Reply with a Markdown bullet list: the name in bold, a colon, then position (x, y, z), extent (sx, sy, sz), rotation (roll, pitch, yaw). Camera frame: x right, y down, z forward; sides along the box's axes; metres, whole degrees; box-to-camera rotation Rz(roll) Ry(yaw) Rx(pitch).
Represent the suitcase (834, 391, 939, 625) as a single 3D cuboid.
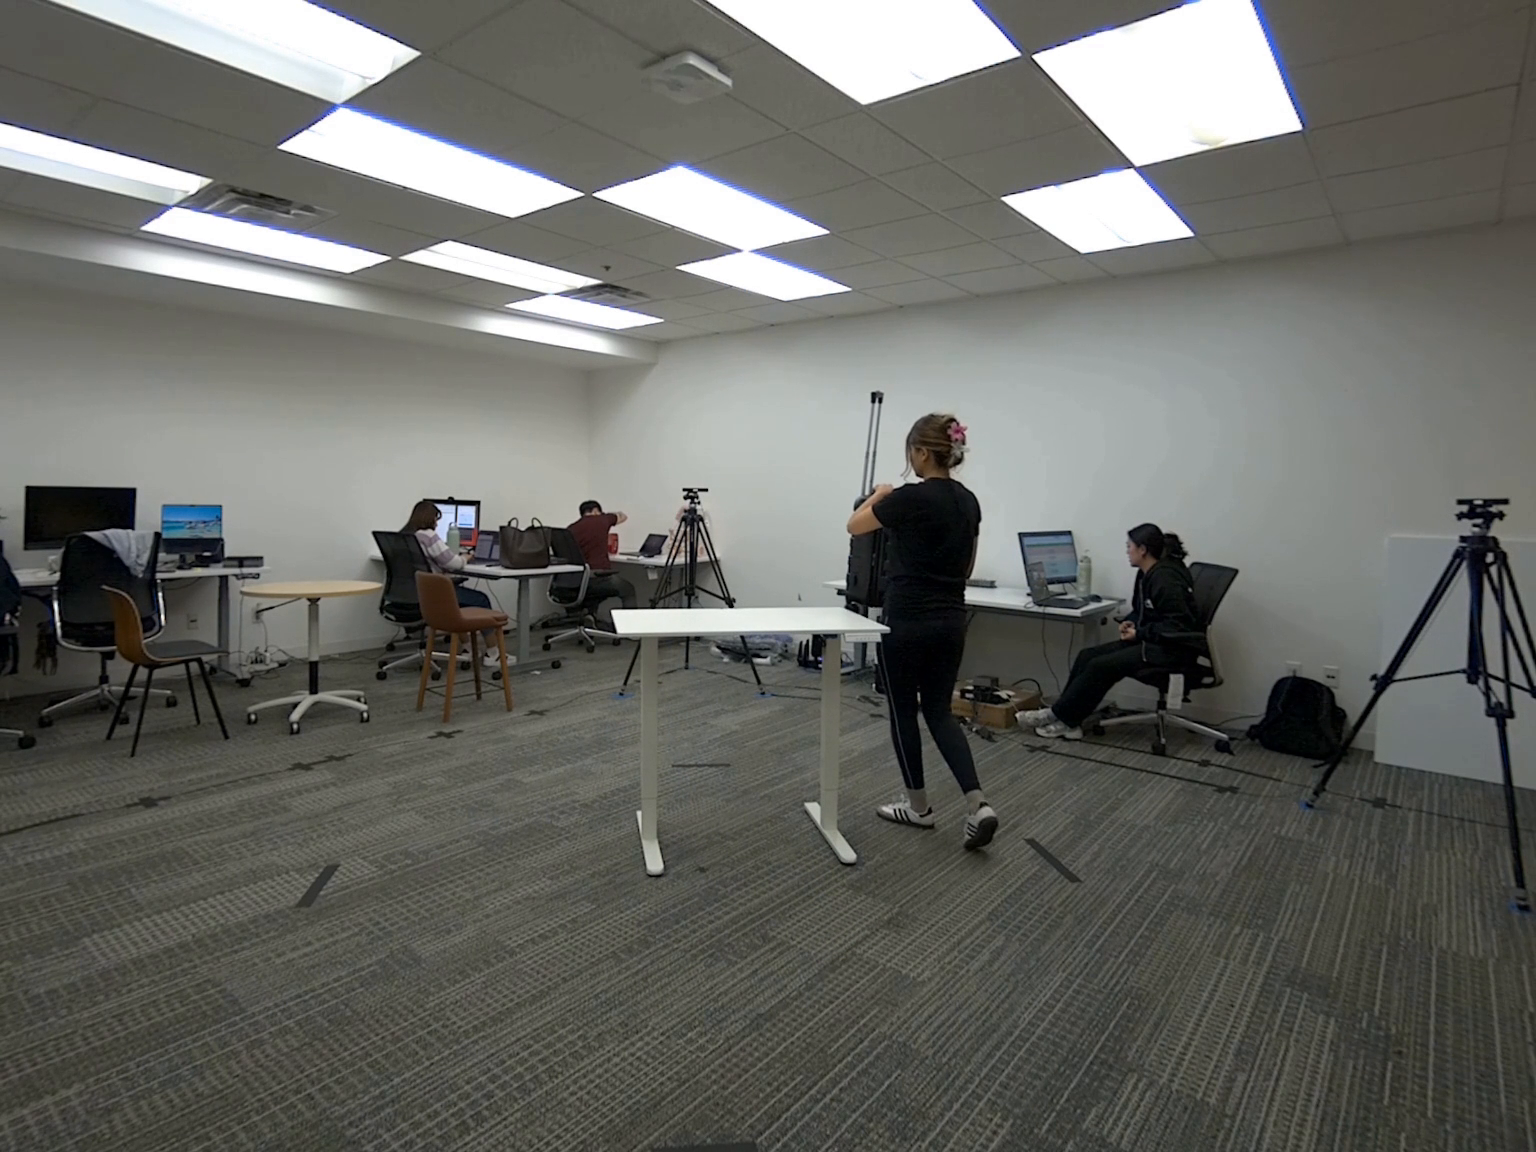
- **suitcase**: position (0.535, -0.319, 3.787), extent (0.263, 0.970, 0.378), rotation (10, 11, 19)
